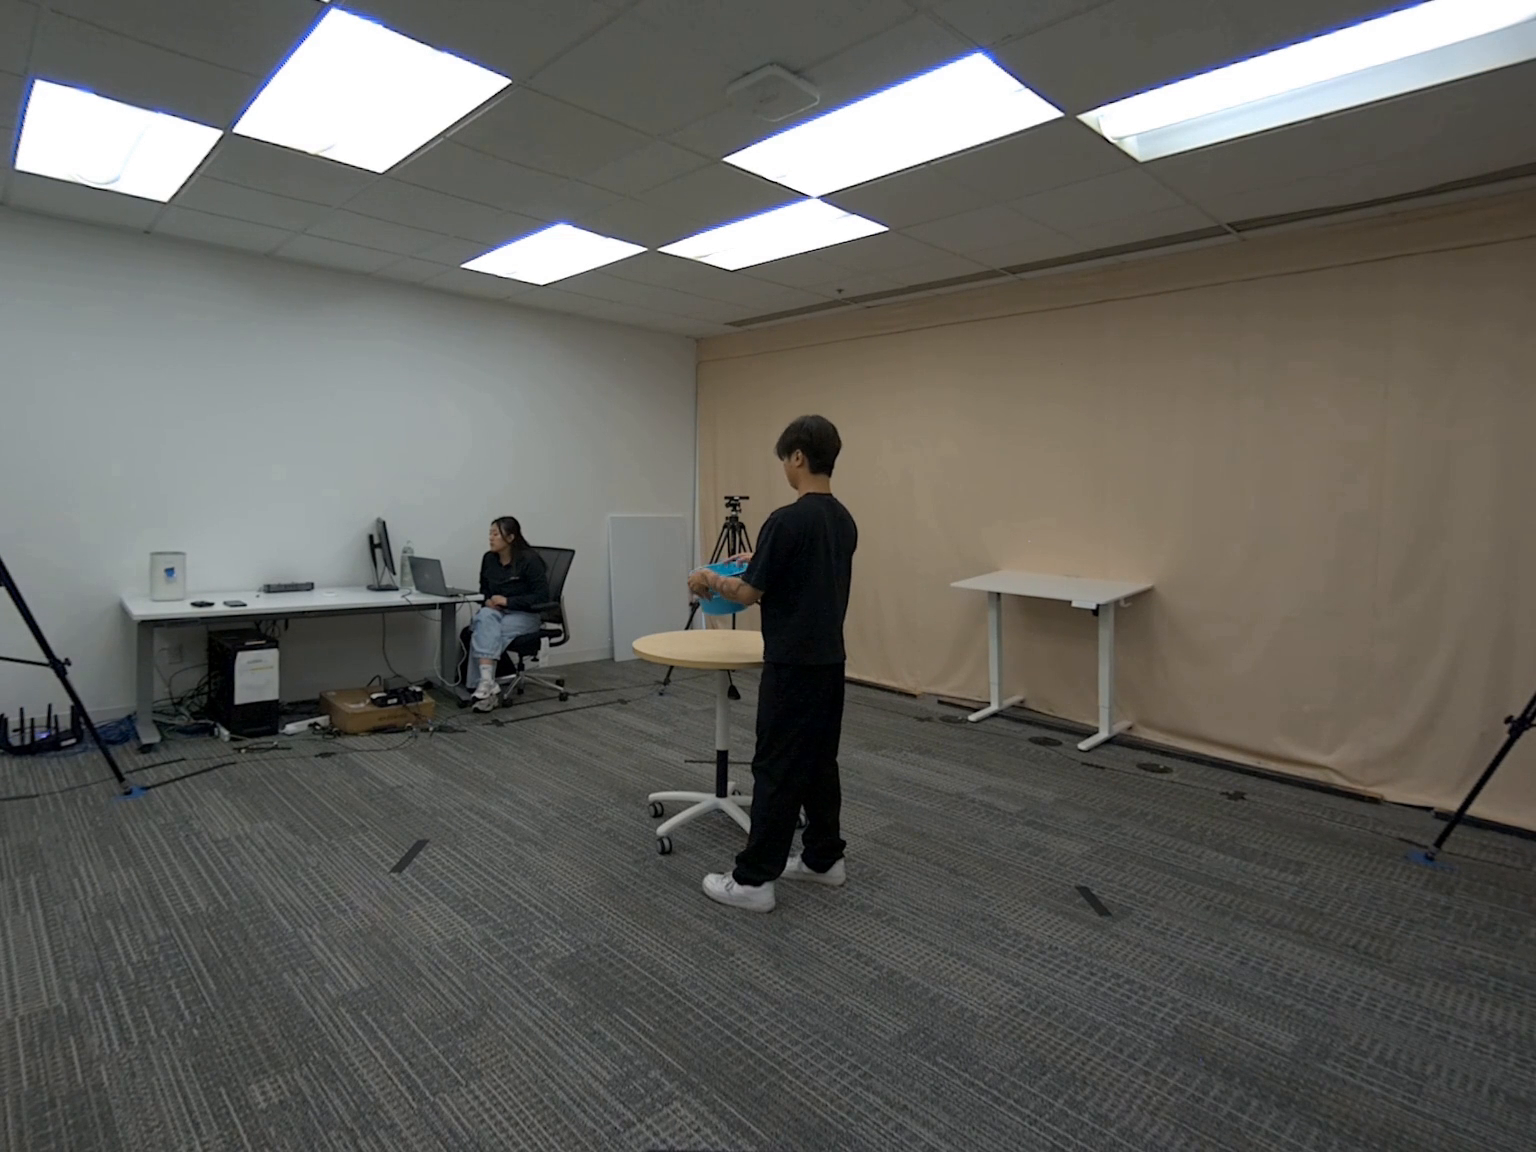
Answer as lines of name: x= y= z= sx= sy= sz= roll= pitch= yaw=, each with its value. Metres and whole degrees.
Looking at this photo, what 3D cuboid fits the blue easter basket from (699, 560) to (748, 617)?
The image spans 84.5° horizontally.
blue easter basket: x=-0.159 y=0.050 z=3.181 sx=0.243 sy=0.155 sz=0.245 roll=-6 pitch=10 yaw=0
